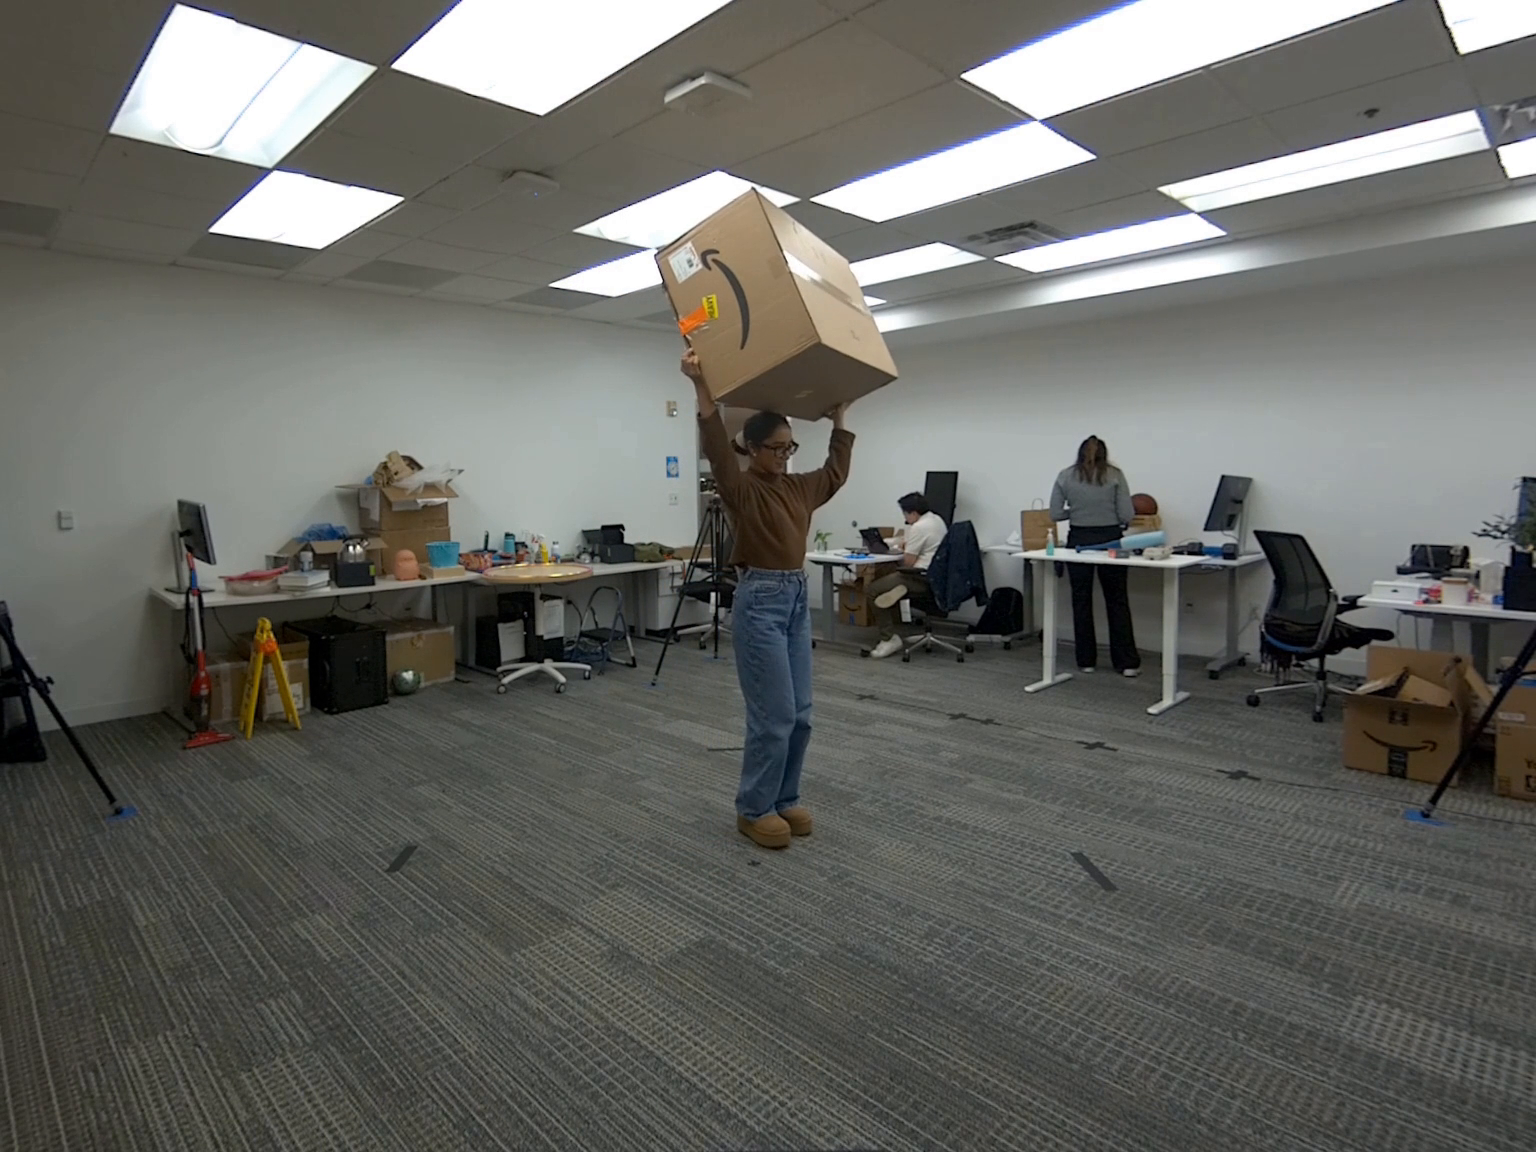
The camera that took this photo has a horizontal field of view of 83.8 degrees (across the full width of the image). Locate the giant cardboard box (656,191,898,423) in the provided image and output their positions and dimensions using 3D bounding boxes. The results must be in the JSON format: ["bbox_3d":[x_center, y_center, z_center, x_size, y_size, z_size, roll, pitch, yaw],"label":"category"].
[{"bbox_3d":[0.074,-0.974,3.290,0.431,0.582,1.007,-25,-6,24],"label":"giant cardboard box"}]
